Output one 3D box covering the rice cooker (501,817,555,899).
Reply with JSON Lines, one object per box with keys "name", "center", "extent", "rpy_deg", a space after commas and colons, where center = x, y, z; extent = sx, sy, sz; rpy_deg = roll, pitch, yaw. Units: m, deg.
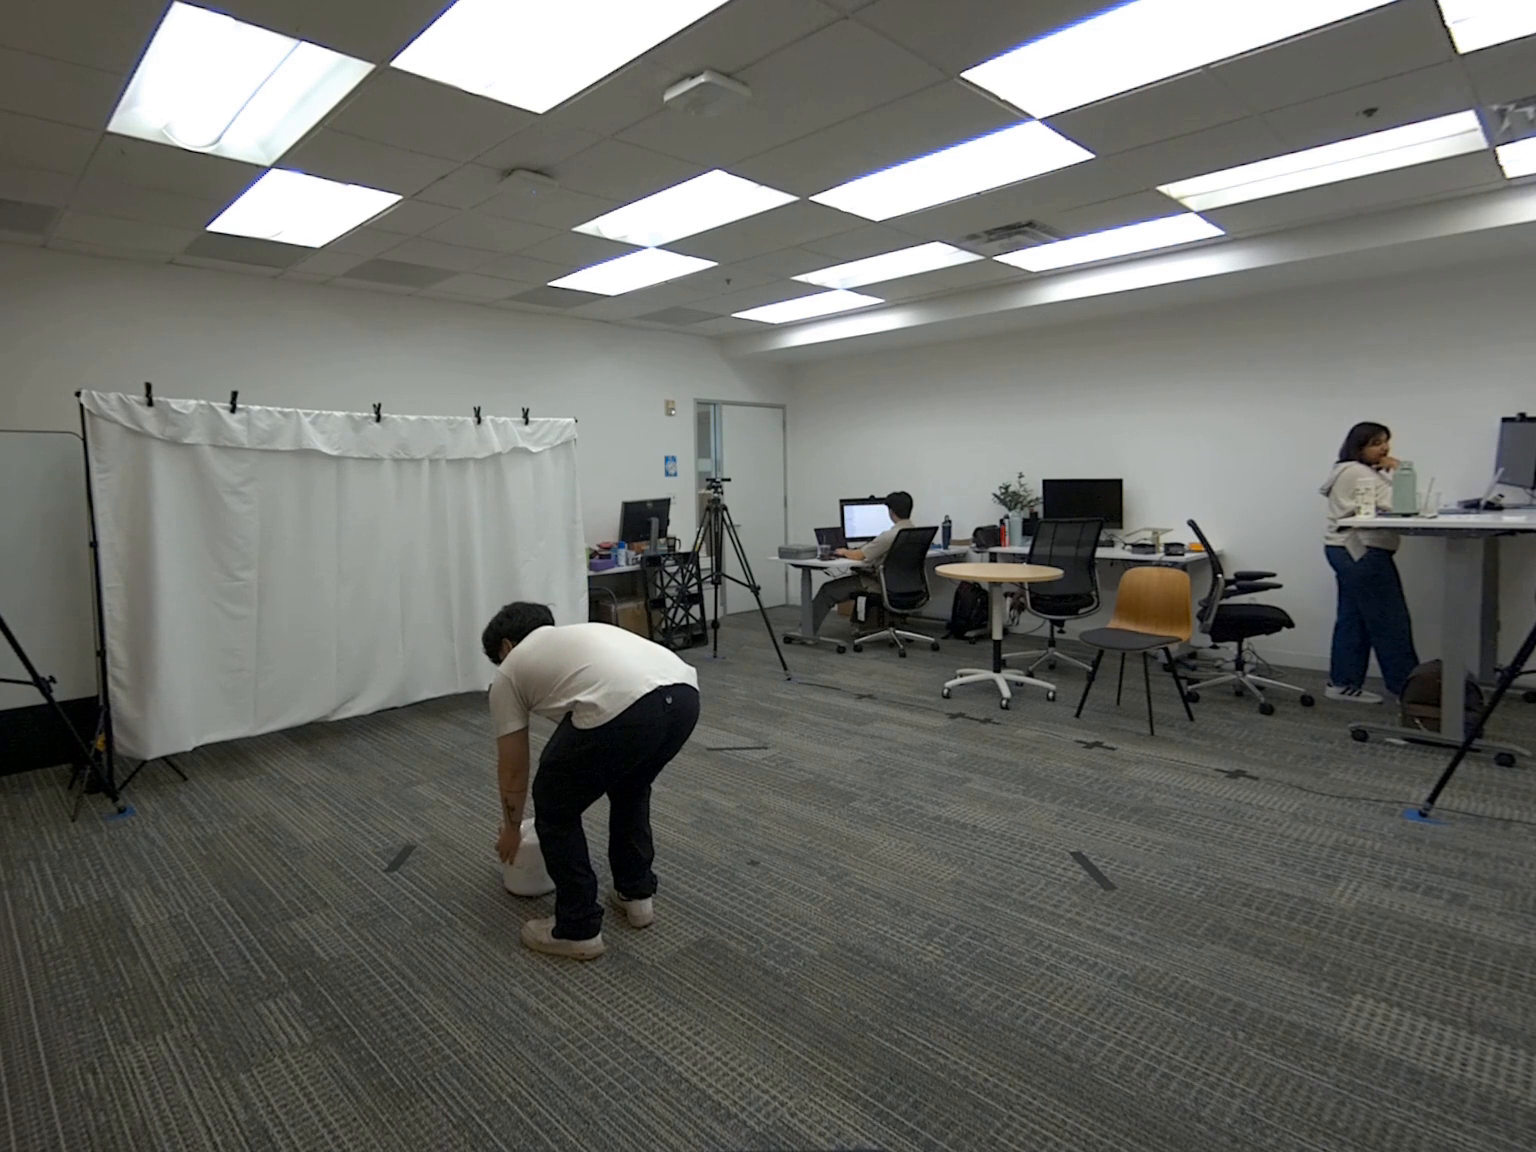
{"name": "rice cooker", "center": [-0.806, 0.958, 2.960], "extent": [0.221, 0.232, 0.218], "rpy_deg": [-1, 5, 15]}
